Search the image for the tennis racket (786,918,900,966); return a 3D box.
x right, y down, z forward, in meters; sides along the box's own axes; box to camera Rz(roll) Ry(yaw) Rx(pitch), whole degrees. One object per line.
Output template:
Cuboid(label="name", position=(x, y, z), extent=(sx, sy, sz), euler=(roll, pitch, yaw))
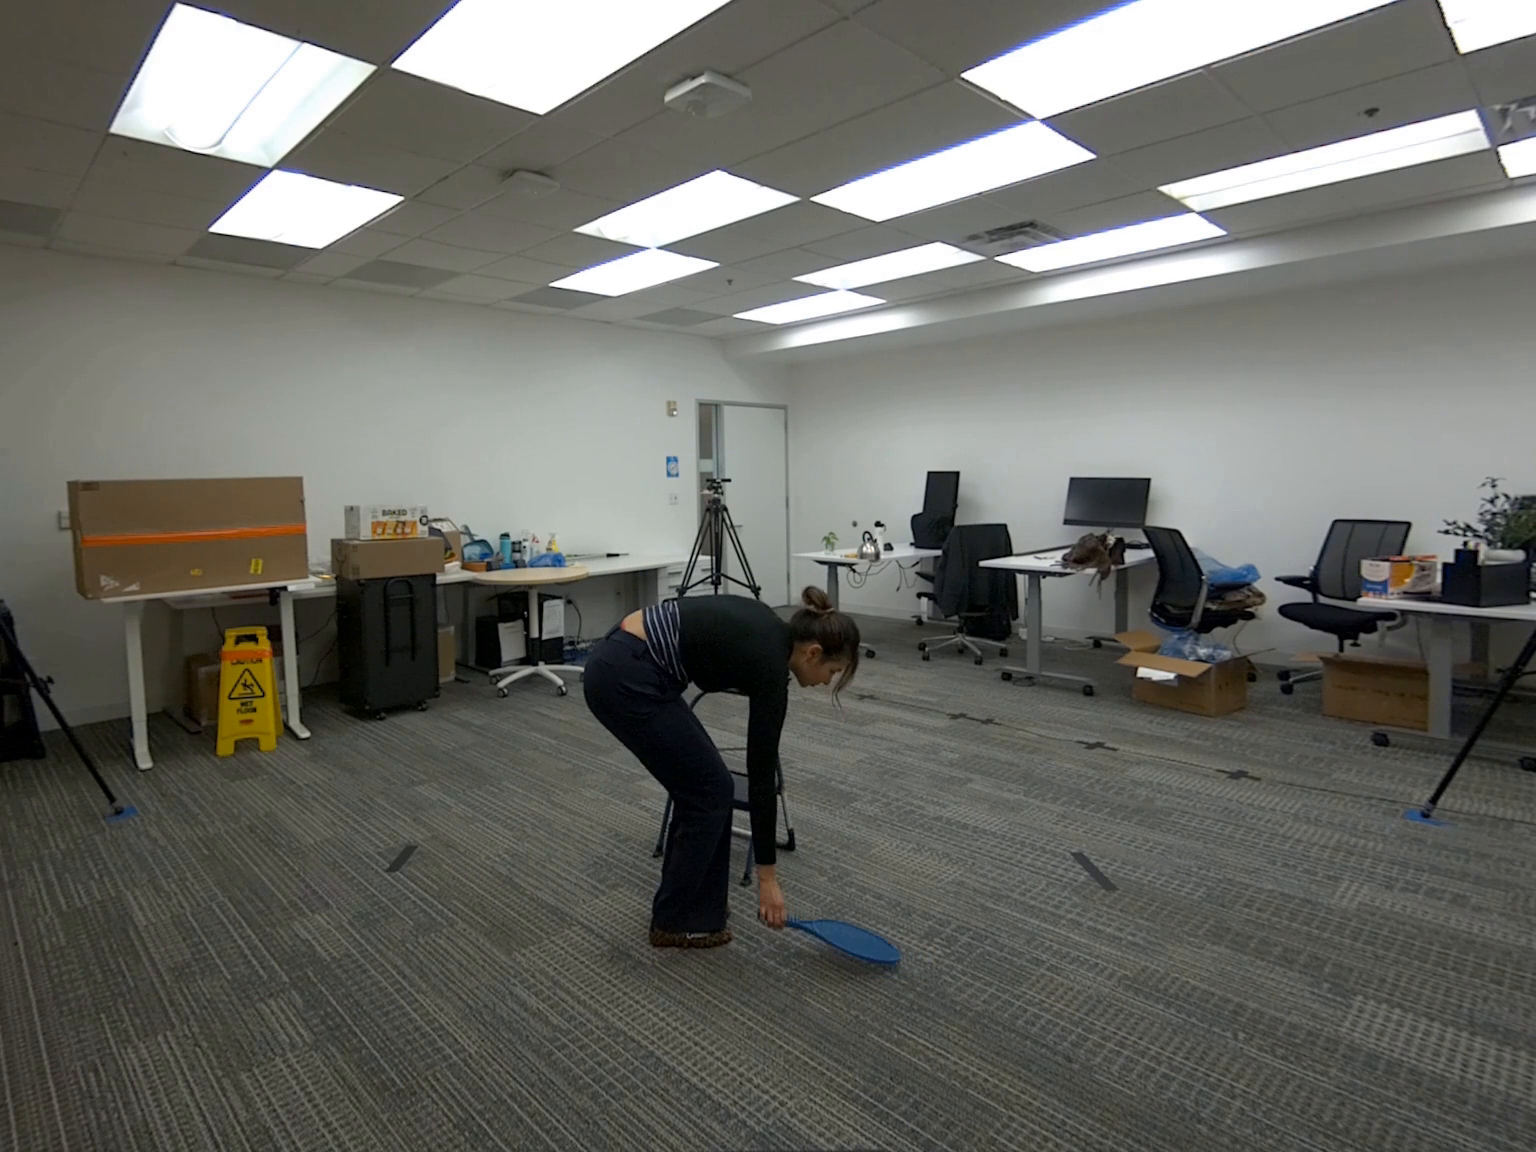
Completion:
Cuboid(label="tennis racket", position=(0.175, 1.020, 2.494), extent=(0.434, 0.032, 0.213), euler=(17, -1, 2))
